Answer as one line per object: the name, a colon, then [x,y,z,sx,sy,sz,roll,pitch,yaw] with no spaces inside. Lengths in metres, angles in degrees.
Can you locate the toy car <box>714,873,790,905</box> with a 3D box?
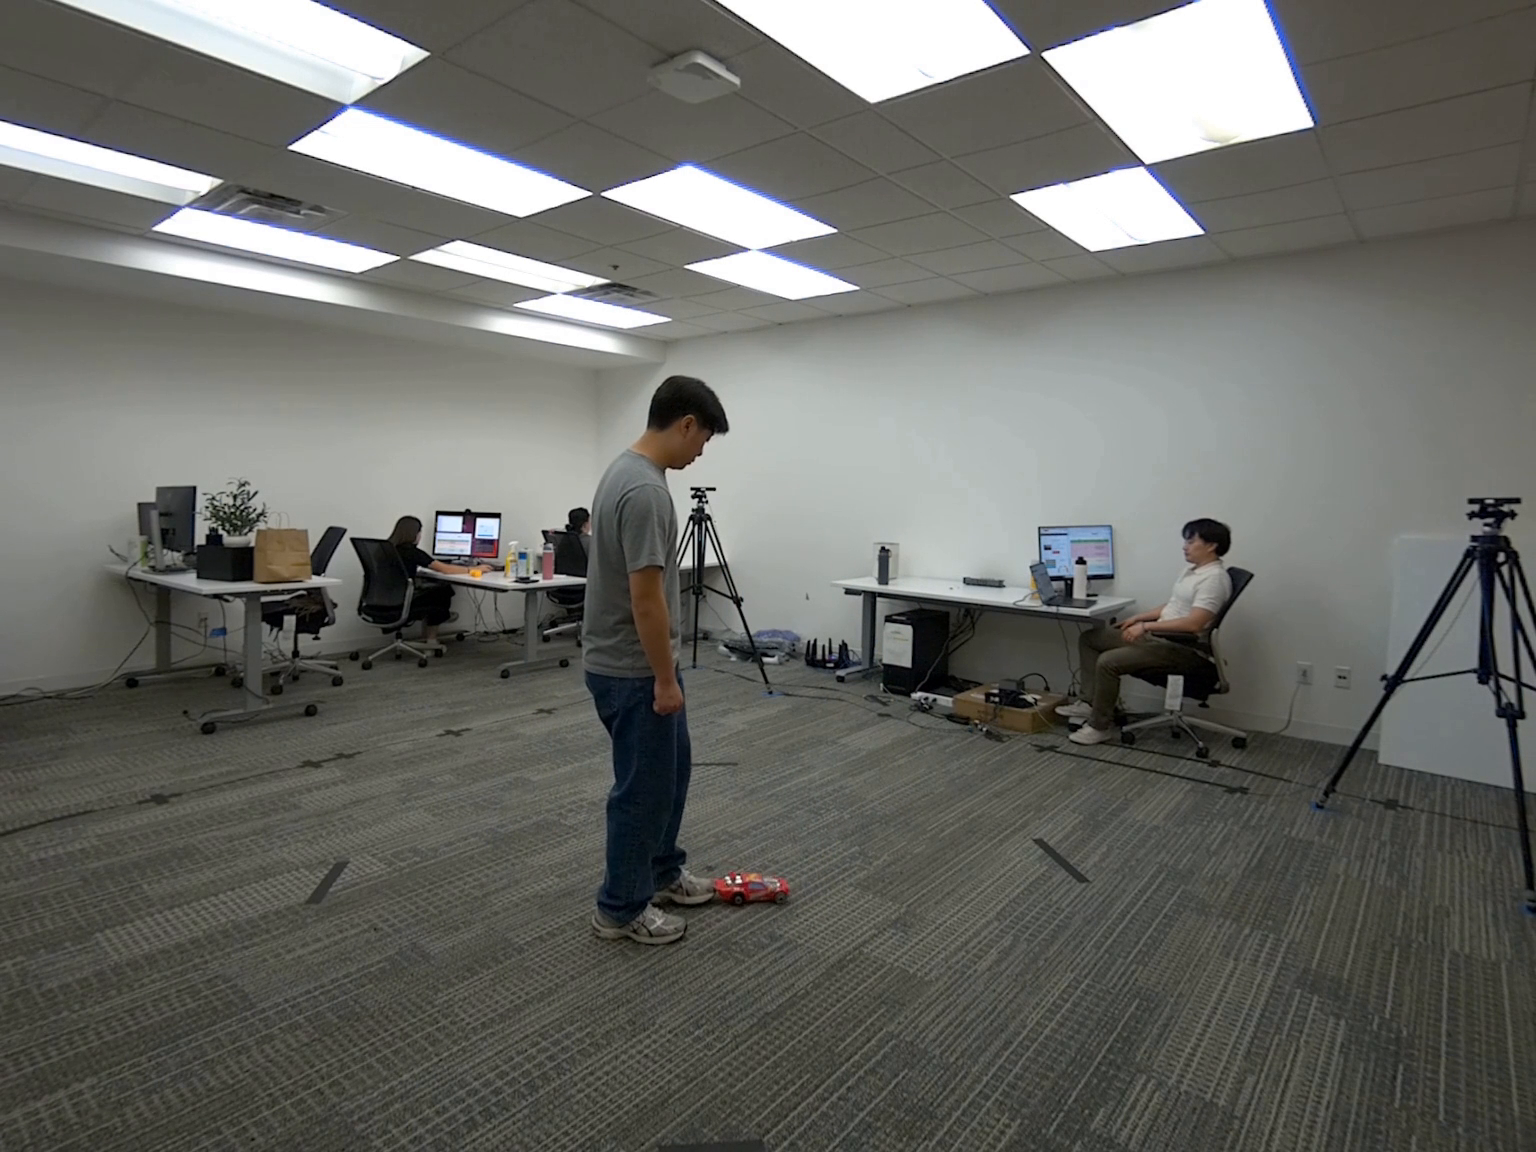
toy car: [-0.073,1.062,2.884,0.251,0.083,0.132,12,2,-10]
